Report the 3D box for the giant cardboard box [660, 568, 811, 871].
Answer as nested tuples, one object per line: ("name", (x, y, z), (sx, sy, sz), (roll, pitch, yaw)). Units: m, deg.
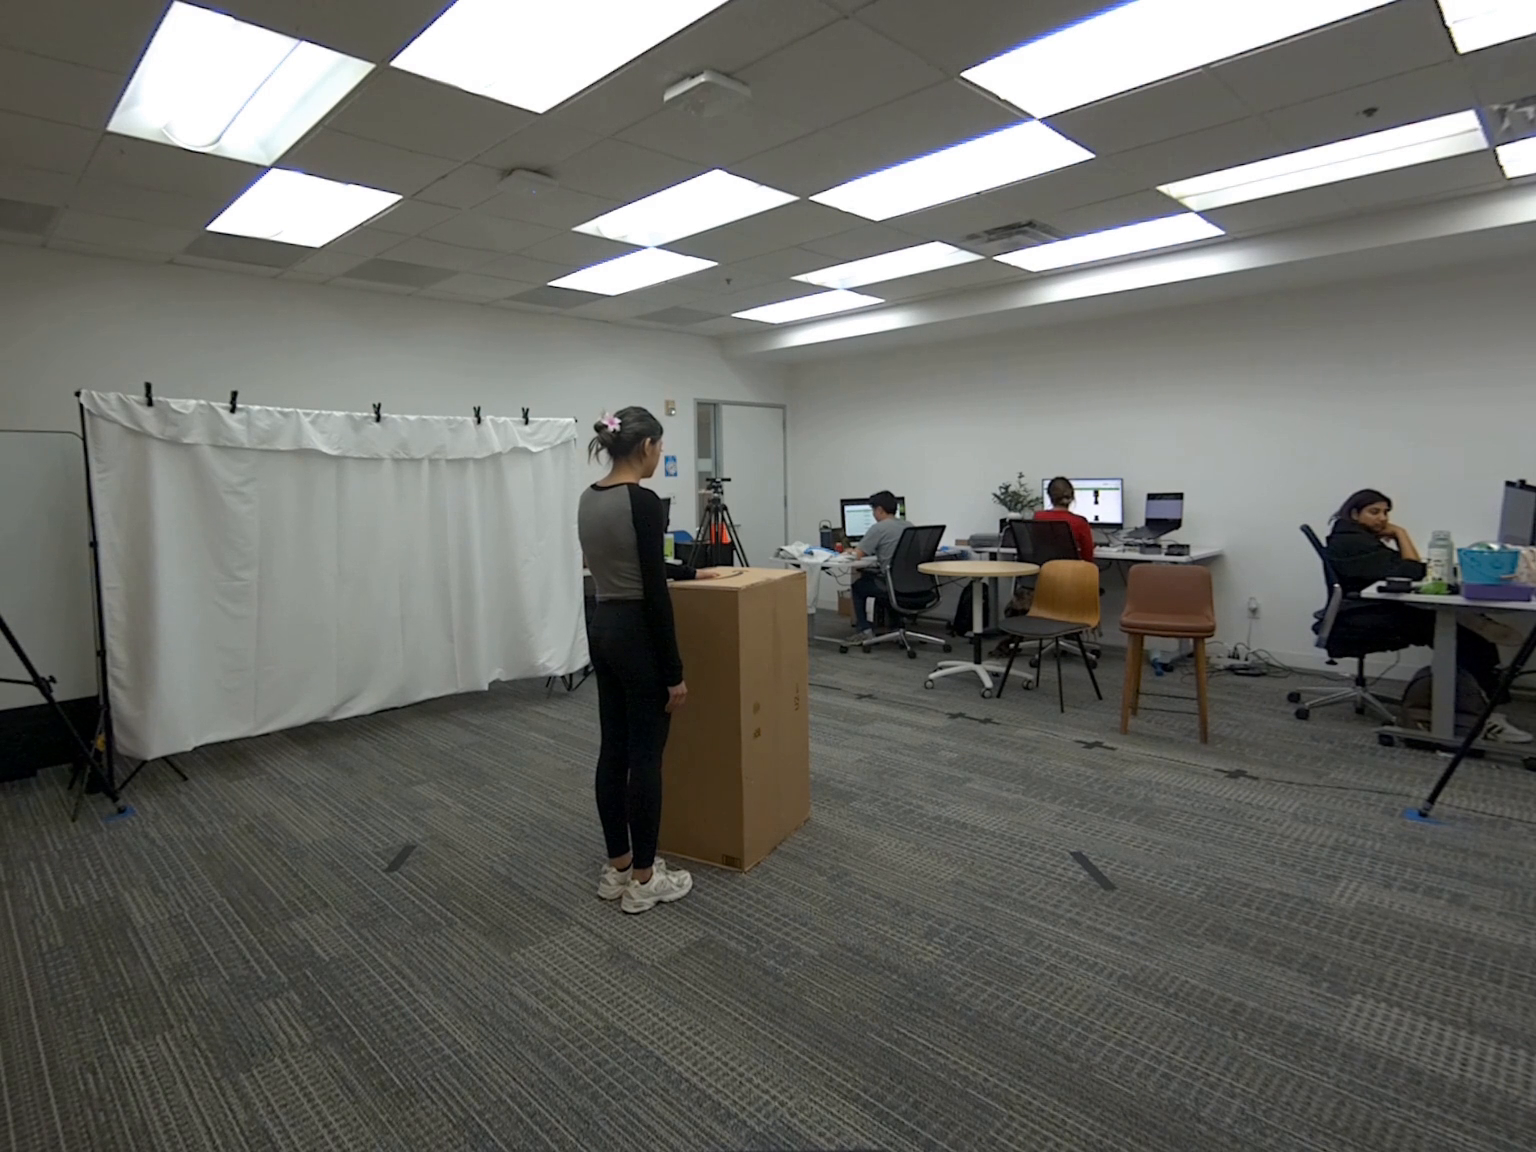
("giant cardboard box", (-0.149, 0.511, 3.342), (0.458, 1.023, 0.572), (2, 5, 27))
